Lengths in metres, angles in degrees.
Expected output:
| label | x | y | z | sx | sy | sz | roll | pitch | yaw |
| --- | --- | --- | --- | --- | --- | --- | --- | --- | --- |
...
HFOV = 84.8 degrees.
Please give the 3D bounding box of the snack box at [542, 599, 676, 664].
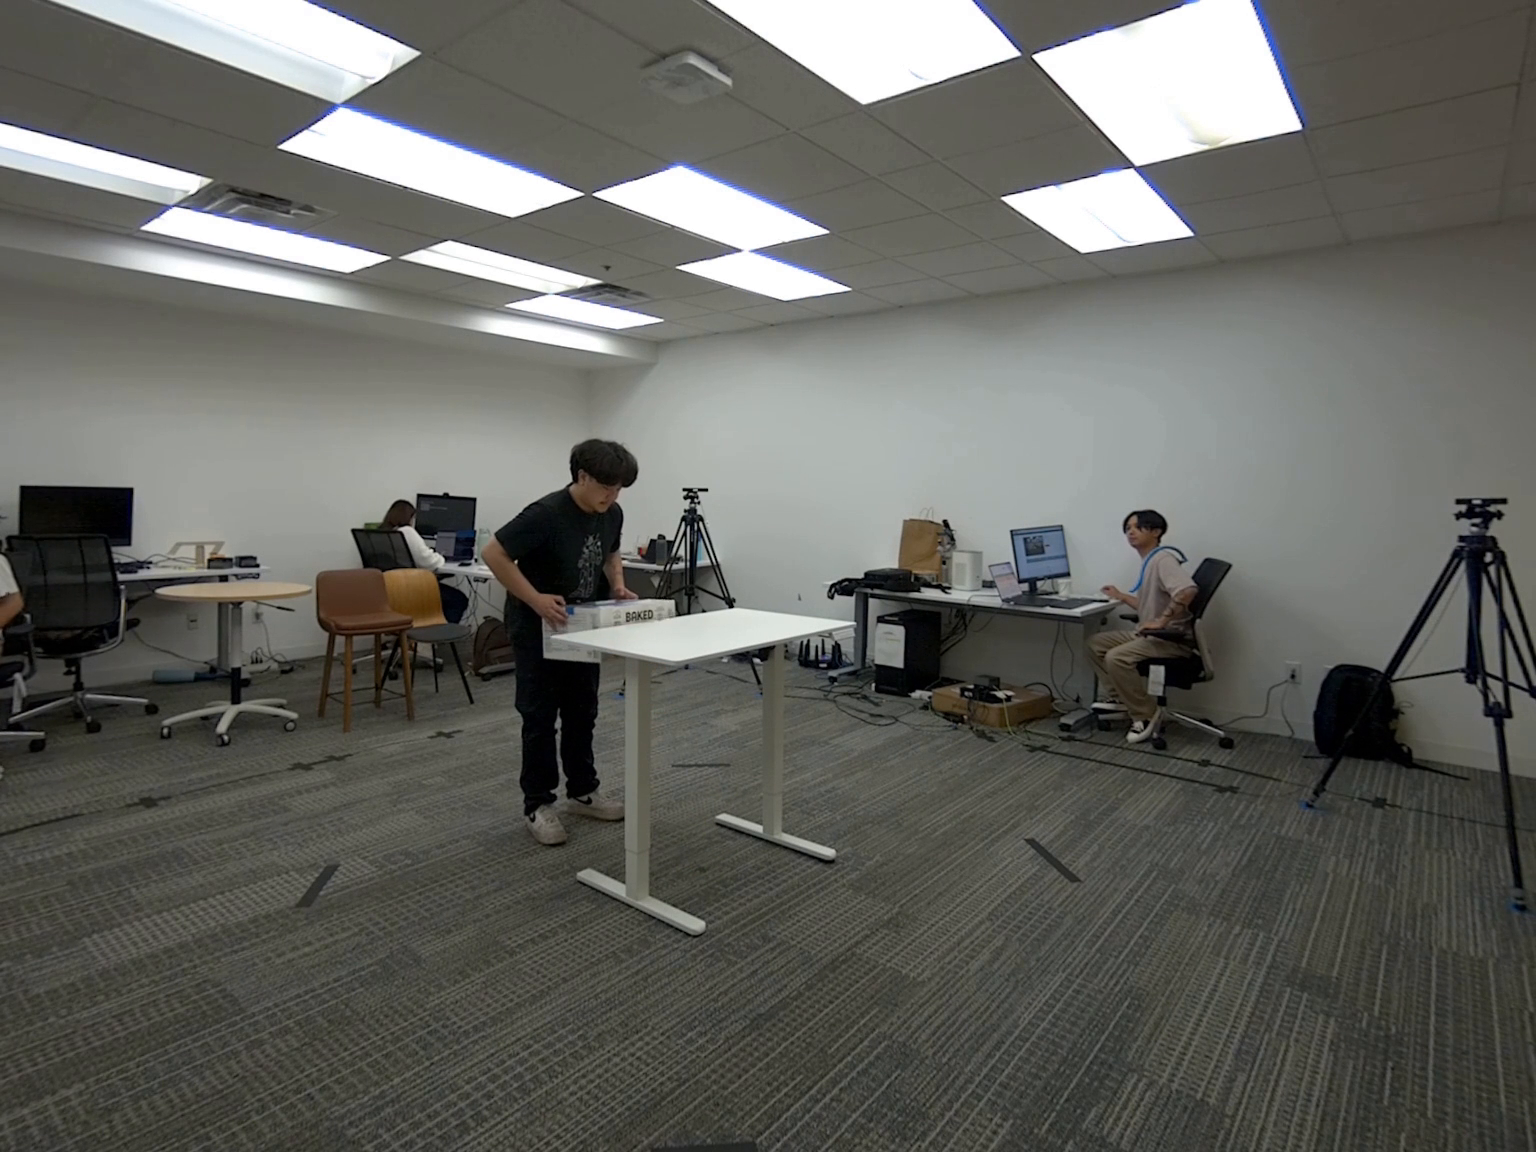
| label | x | y | z | sx | sy | sz | roll | pitch | yaw |
| --- | --- | --- | --- | --- | --- | --- | --- | --- | --- |
| snack box | -0.638 | 0.210 | 3.358 | 0.350 | 0.206 | 0.393 | -2 | 1 | 38 |
